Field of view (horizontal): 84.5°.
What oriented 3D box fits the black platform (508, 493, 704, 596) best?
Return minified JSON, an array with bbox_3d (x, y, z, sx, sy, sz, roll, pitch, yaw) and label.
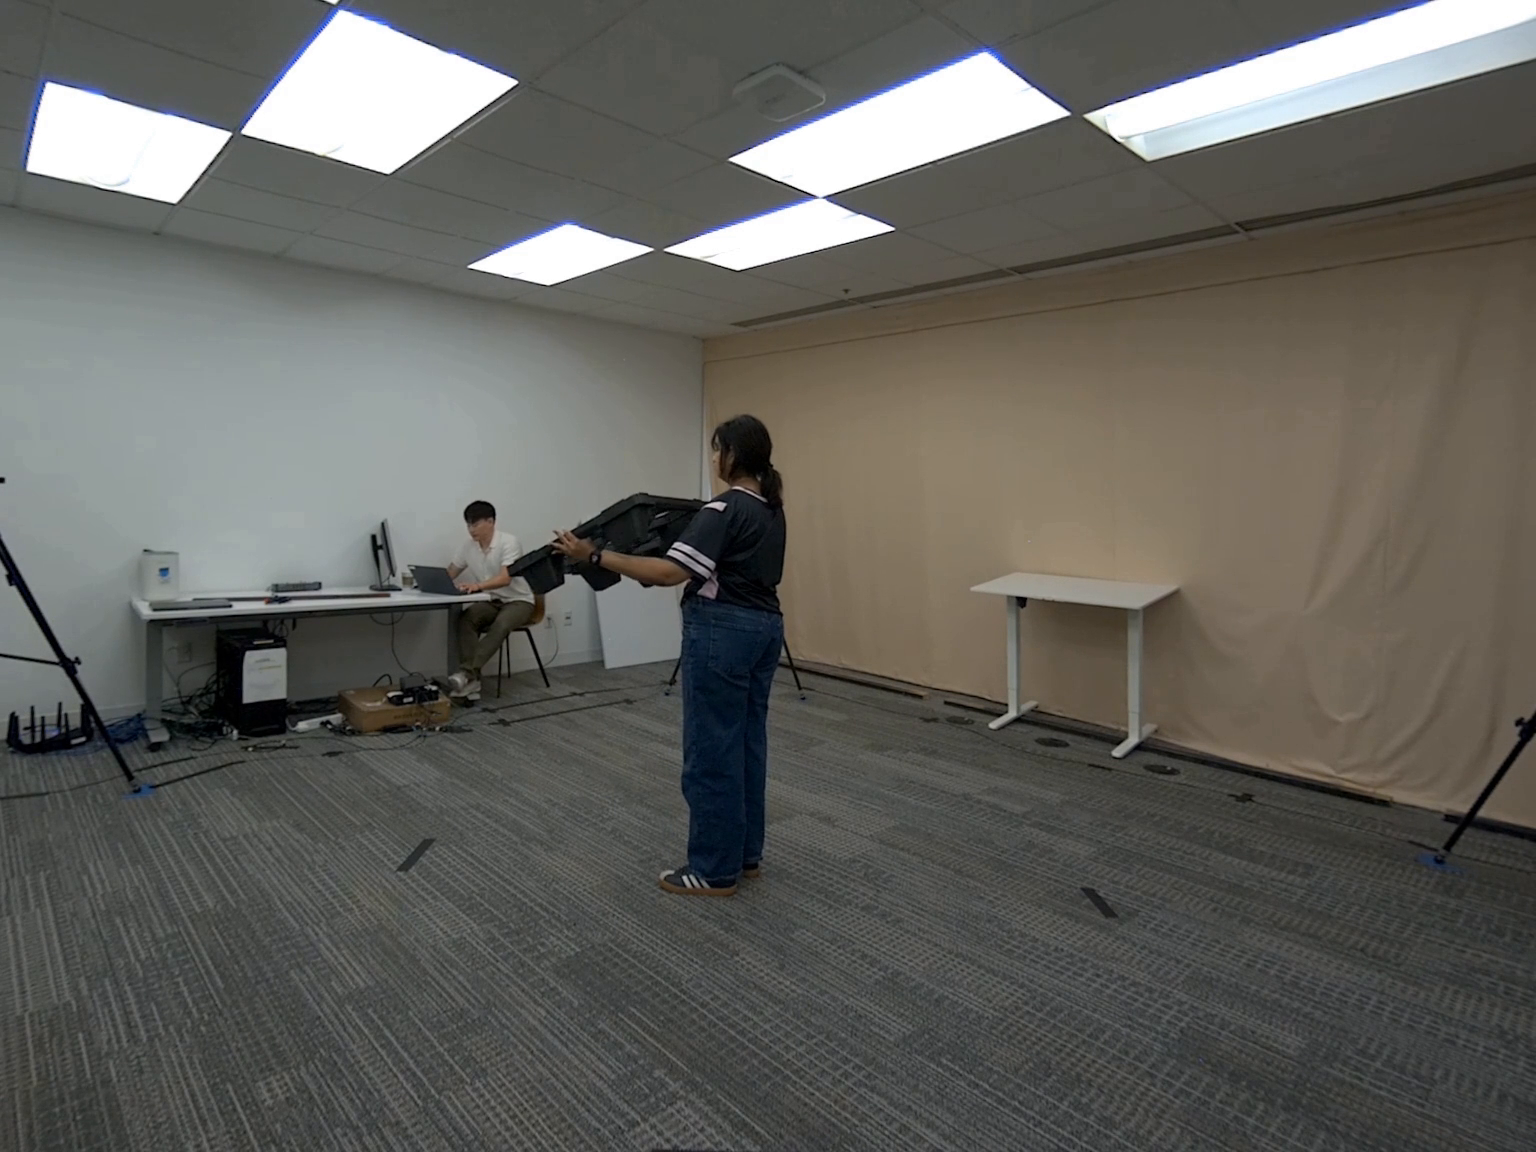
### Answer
[{"bbox_3d":[-0.471,-0.093,3.133,0.610,0.144,0.791,-25,-8,25],"label":"black platform"}]
